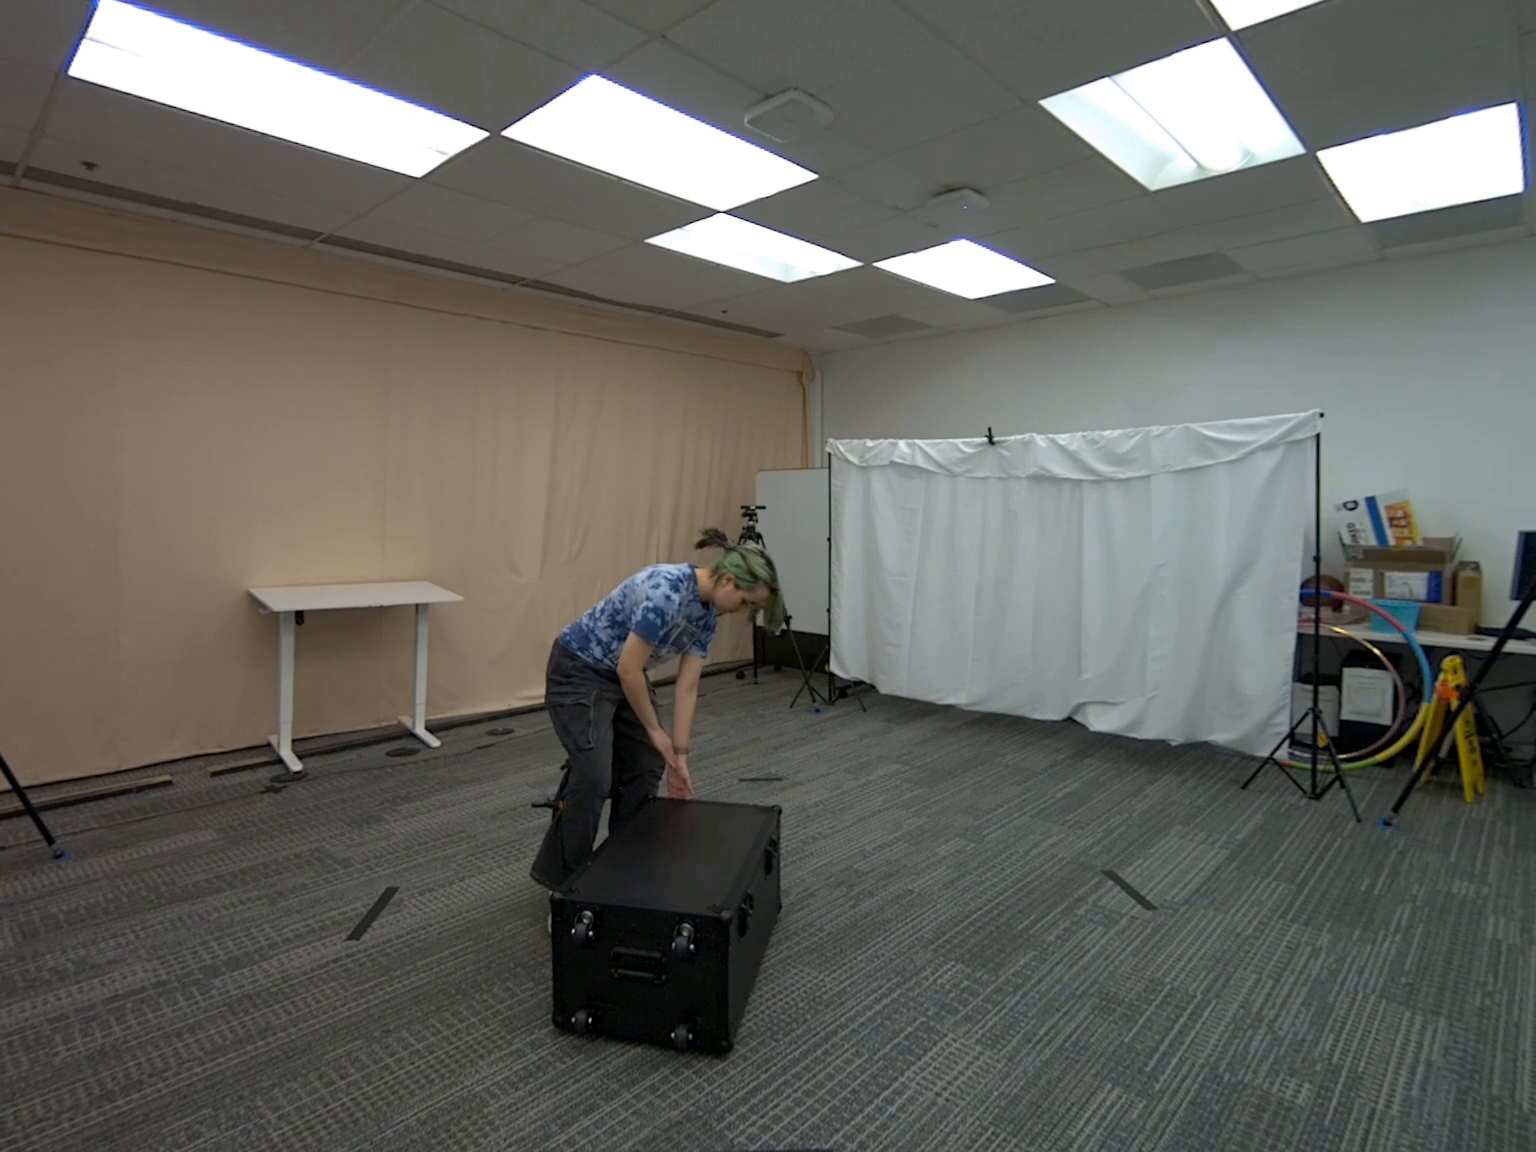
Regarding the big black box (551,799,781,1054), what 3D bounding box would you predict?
[{"bbox_3d":[-0.262,0.989,2.489,0.529,0.395,0.851,1,3,11],"label":"big black box"}]
